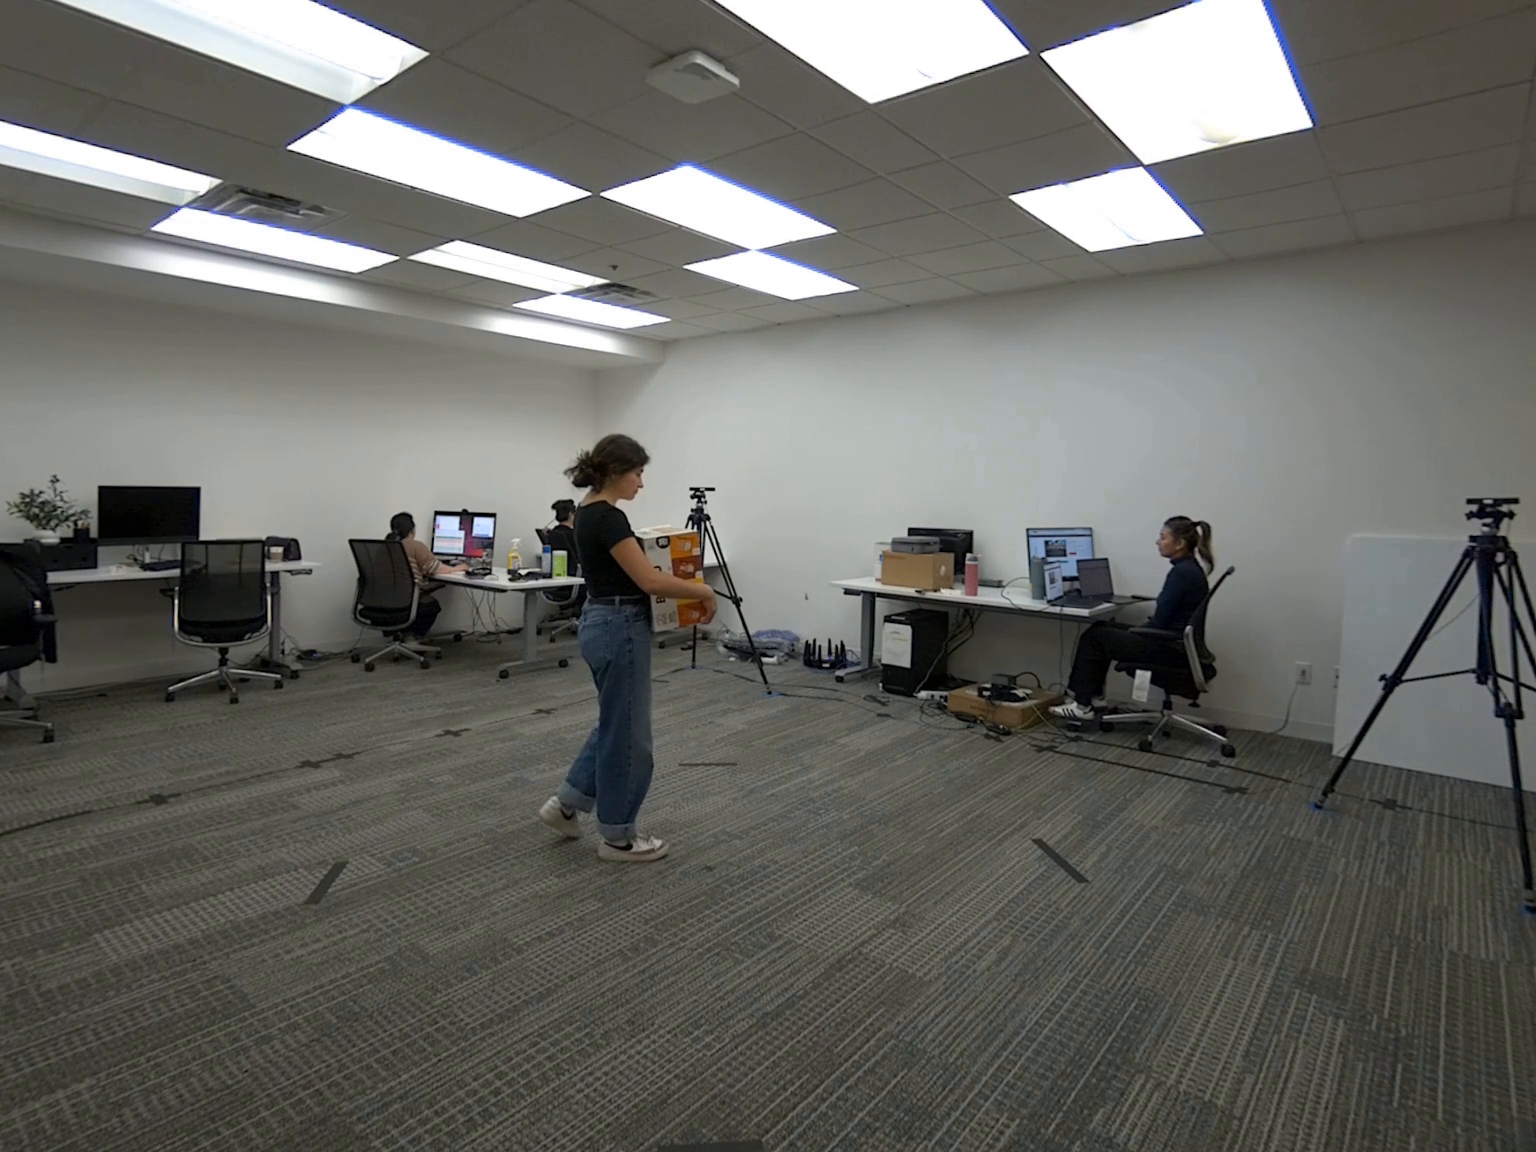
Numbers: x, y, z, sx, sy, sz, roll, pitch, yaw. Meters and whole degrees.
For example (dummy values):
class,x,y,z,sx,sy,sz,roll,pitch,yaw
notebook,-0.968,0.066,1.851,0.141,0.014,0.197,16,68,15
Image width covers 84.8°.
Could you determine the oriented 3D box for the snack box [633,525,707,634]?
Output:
class,x,y,z,sx,sy,sz,roll,pitch,yaw
snack box,-0.408,-0.003,3.221,0.202,0.338,0.415,-7,8,-19
